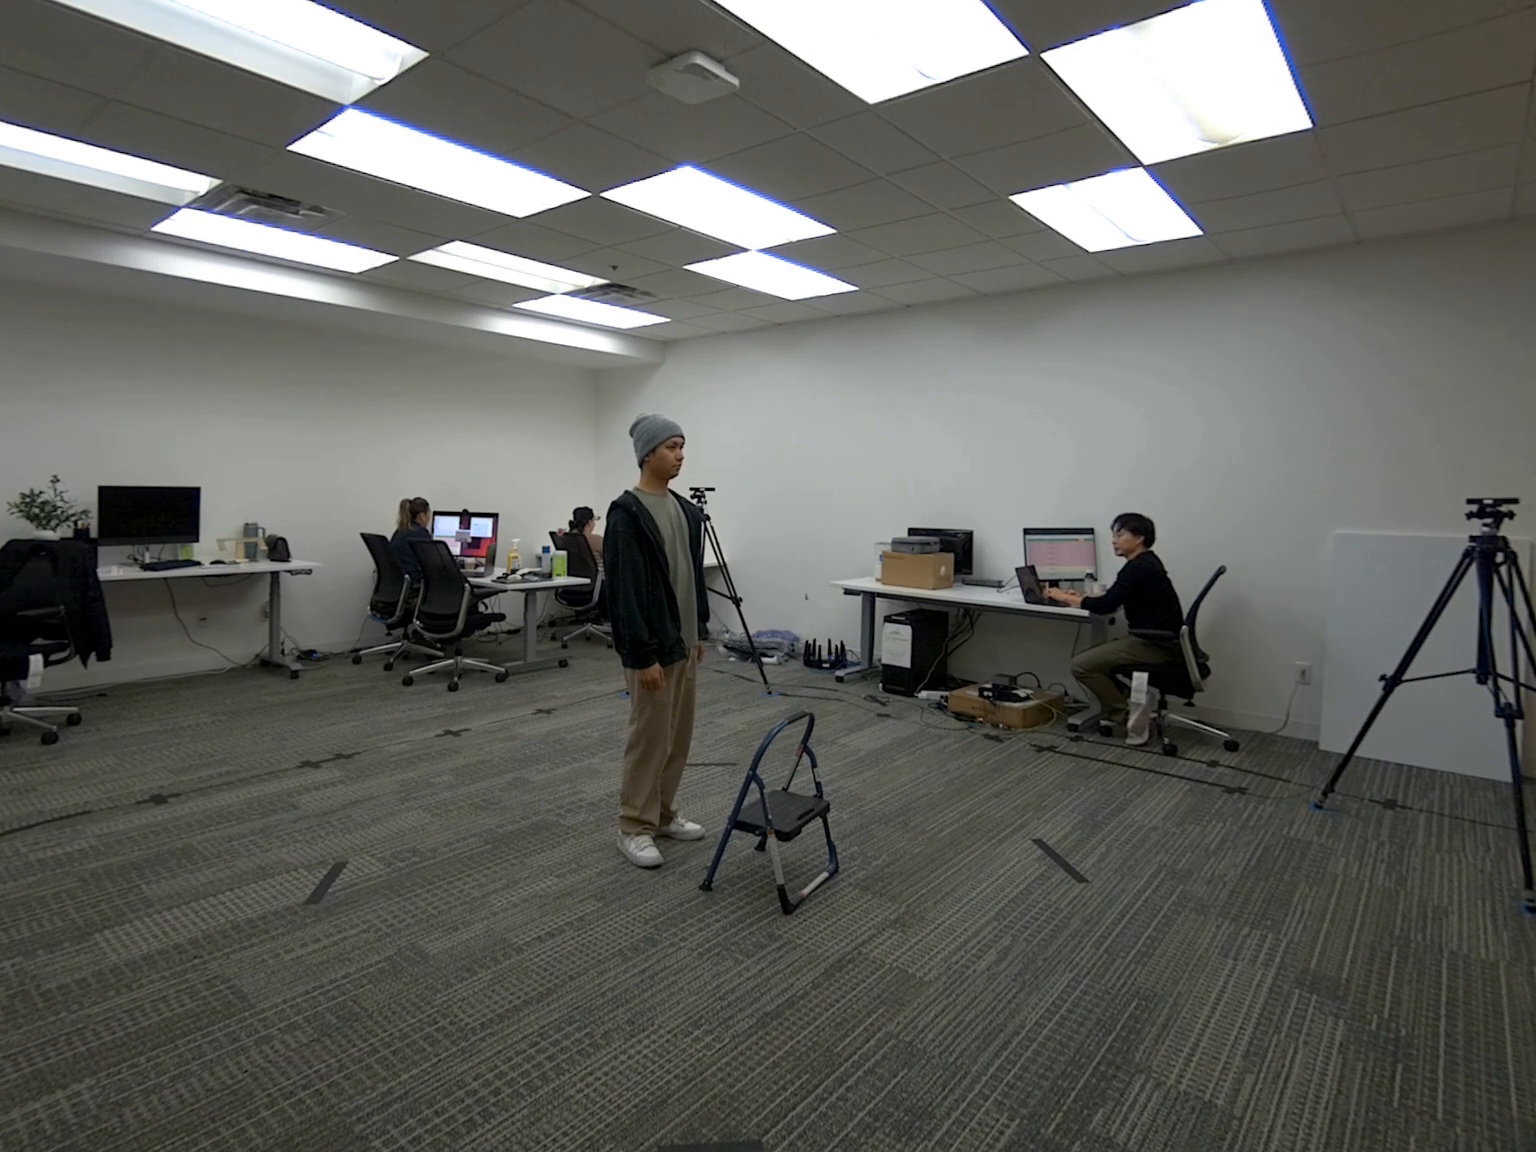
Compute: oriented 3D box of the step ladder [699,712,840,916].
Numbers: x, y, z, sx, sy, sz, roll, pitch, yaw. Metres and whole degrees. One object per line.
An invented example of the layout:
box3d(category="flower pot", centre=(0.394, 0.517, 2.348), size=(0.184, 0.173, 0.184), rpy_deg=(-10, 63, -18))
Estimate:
box3d(category="step ladder", centre=(0.014, 0.777, 3.016), size=(0.359, 0.604, 0.420), rpy_deg=(3, 4, 29))
